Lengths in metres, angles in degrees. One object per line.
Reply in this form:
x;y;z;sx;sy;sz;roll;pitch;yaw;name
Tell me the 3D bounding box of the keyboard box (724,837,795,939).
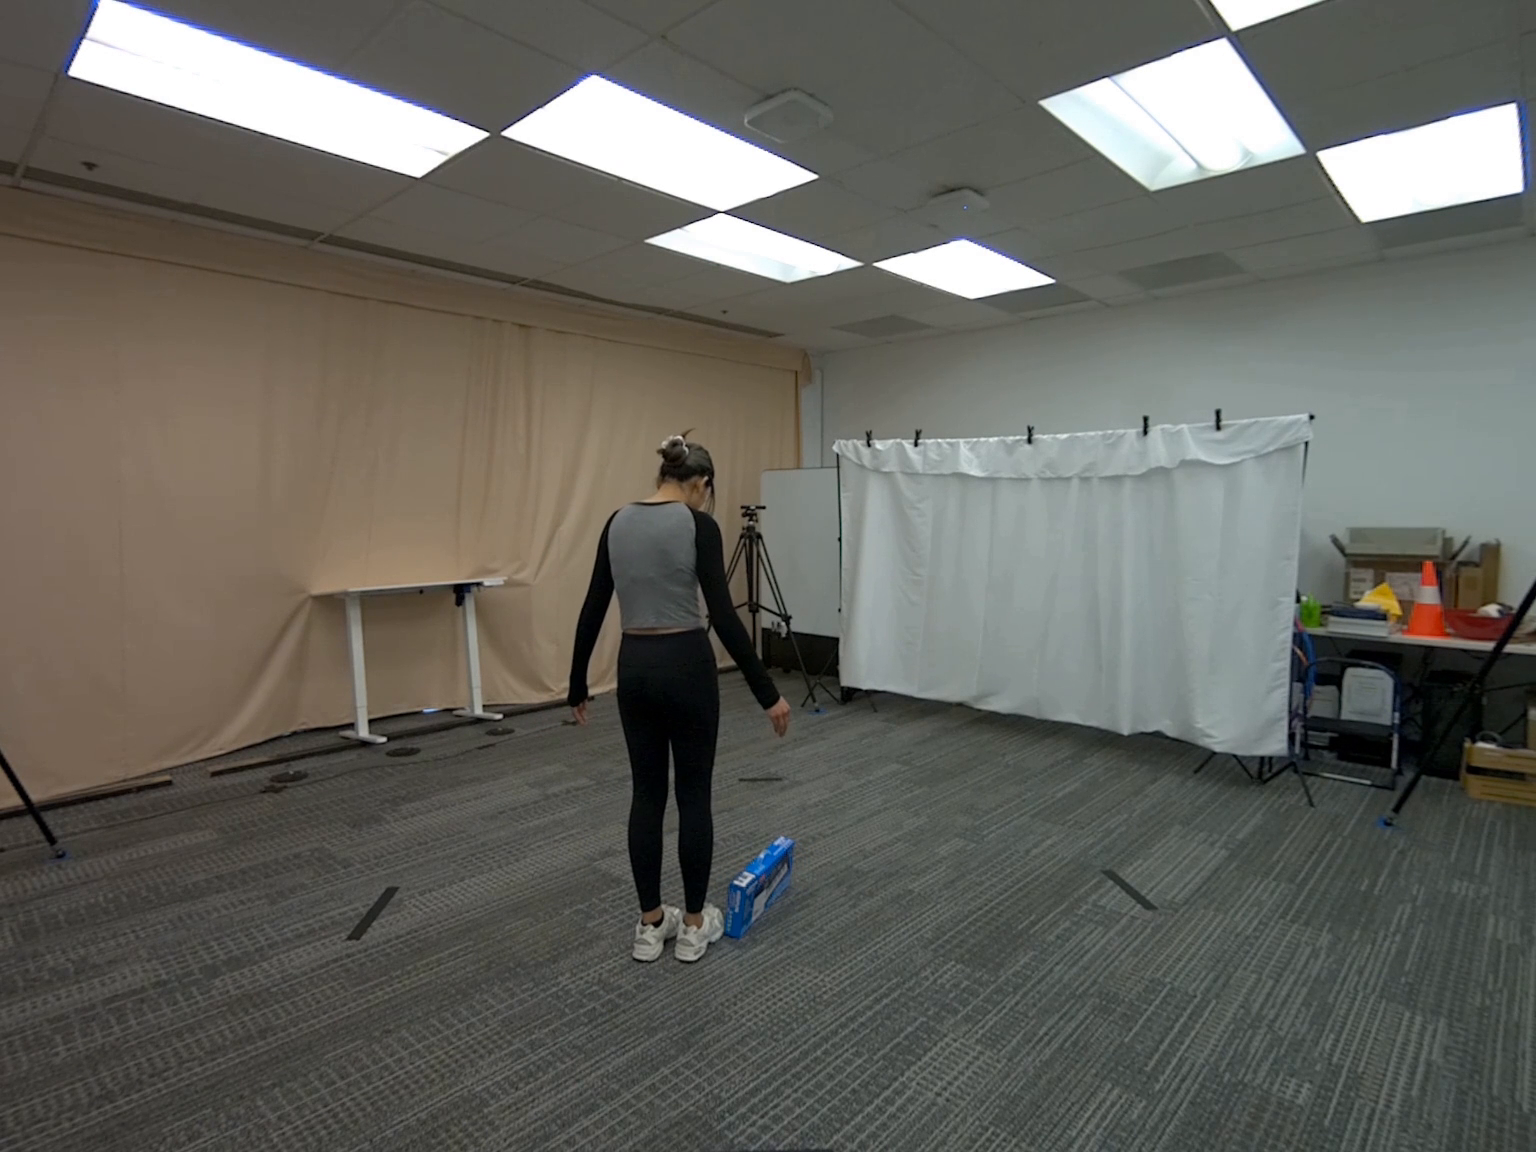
-0.021;1.062;2.899;0.060;0.175;0.427;9;8;23;keyboard box
